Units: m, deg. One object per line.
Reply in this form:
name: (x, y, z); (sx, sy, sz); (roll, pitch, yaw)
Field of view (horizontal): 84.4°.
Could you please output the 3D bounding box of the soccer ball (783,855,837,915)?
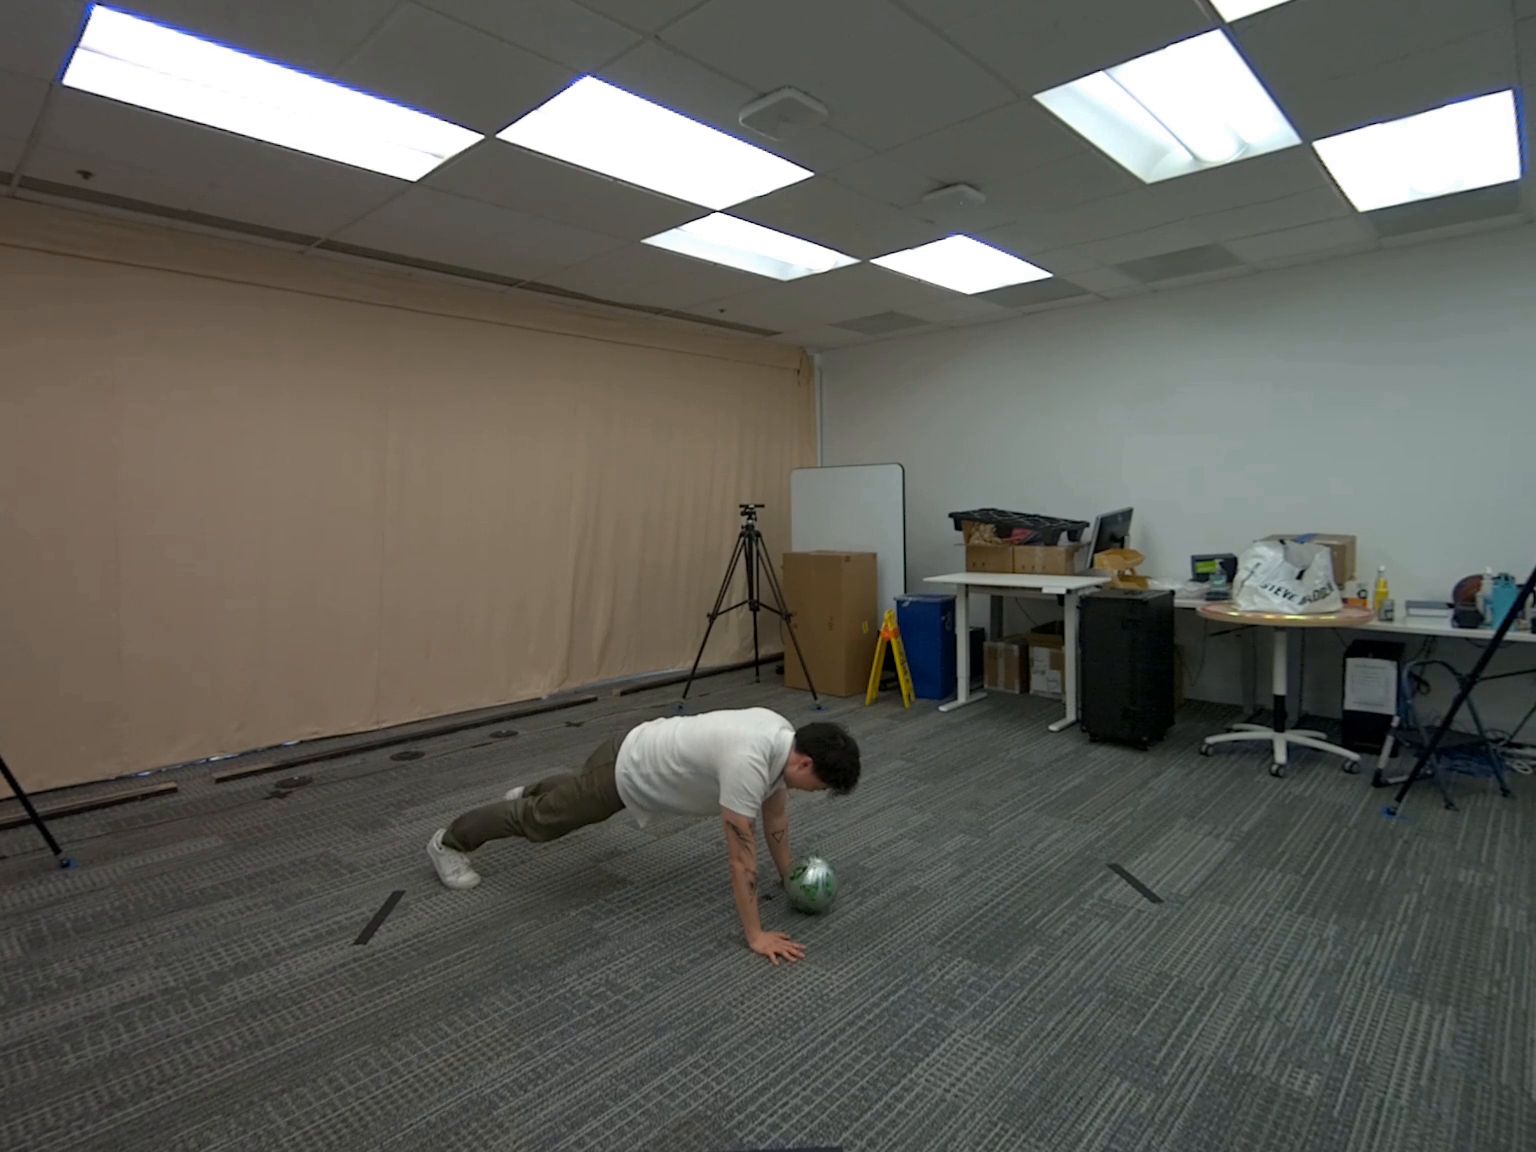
soccer ball: (0.153, 1.053, 2.878); (0.187, 0.187, 0.188); (-1, 4, -2)
